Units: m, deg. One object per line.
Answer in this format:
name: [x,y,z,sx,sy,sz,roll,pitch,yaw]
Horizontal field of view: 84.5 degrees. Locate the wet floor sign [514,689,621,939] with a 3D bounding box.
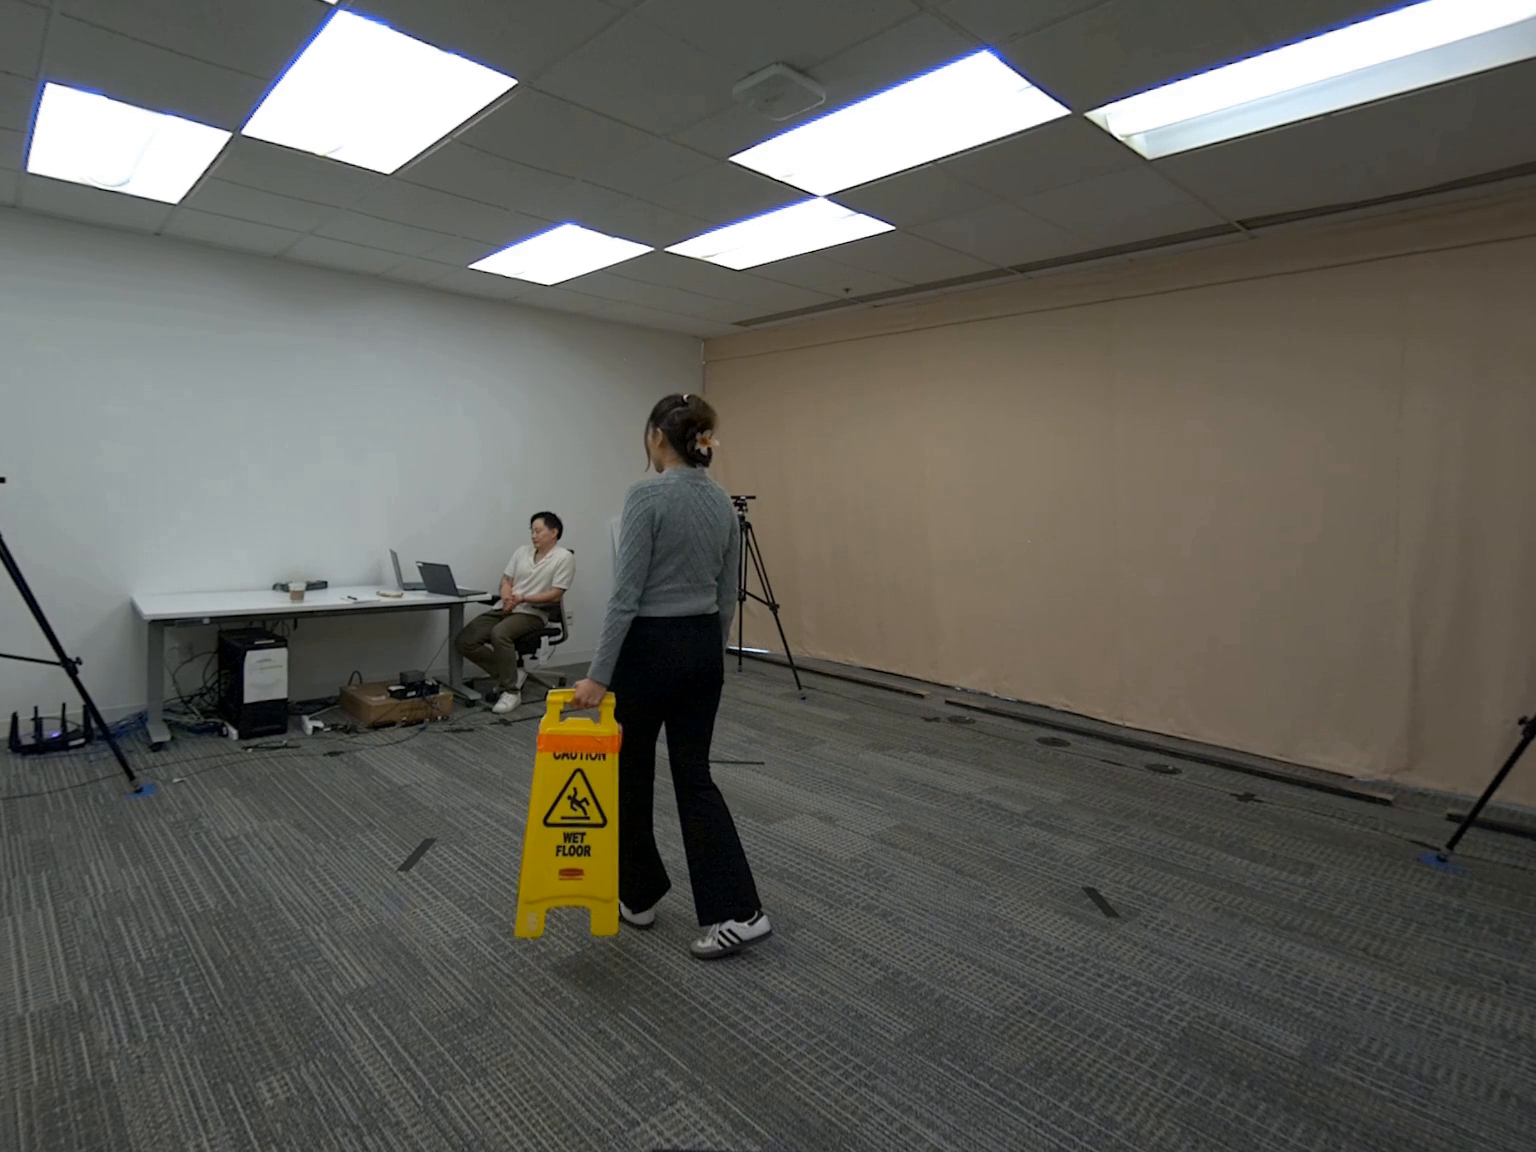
wet floor sign: [-0.573,0.662,2.443,0.279,0.647,0.292,5,-3,-14]
